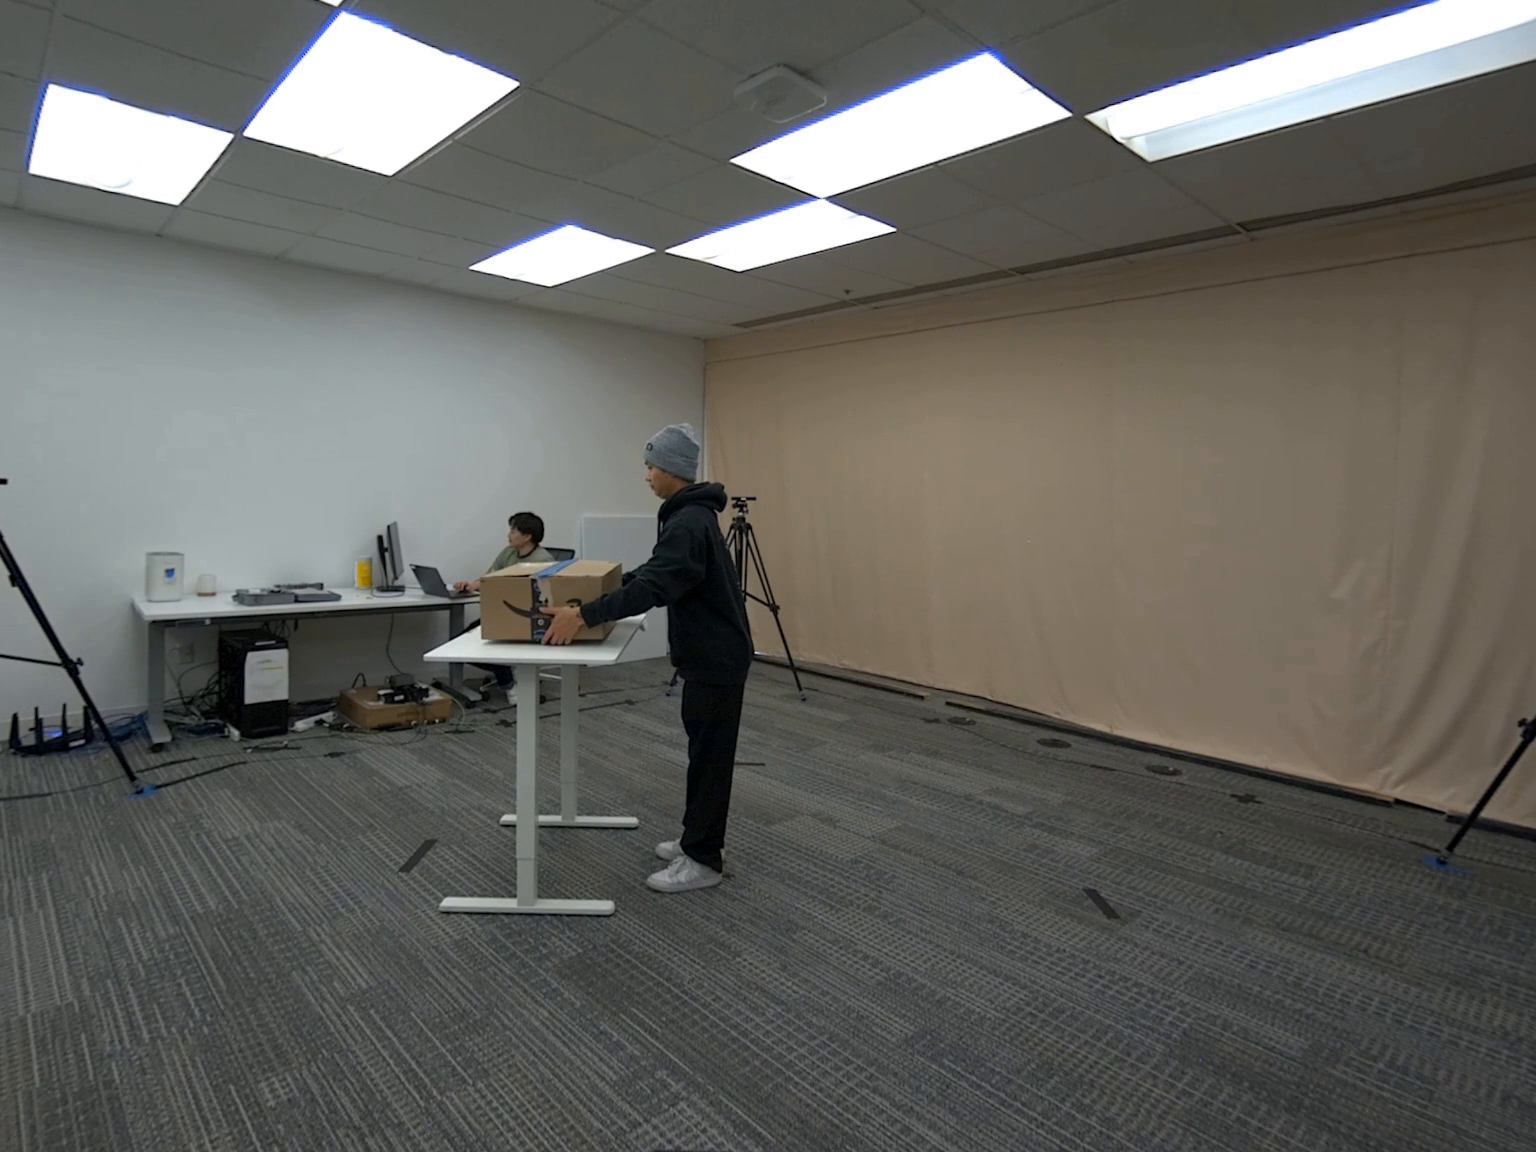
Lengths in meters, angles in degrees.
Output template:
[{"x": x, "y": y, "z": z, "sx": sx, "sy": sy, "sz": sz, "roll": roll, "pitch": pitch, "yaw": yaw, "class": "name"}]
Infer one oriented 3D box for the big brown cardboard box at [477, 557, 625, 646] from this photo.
[{"x": -0.773, "y": 0.078, "z": 3.116, "sx": 0.417, "sy": 0.232, "sz": 0.592, "roll": -1, "pitch": 7, "yaw": -2, "class": "big brown cardboard box"}]
